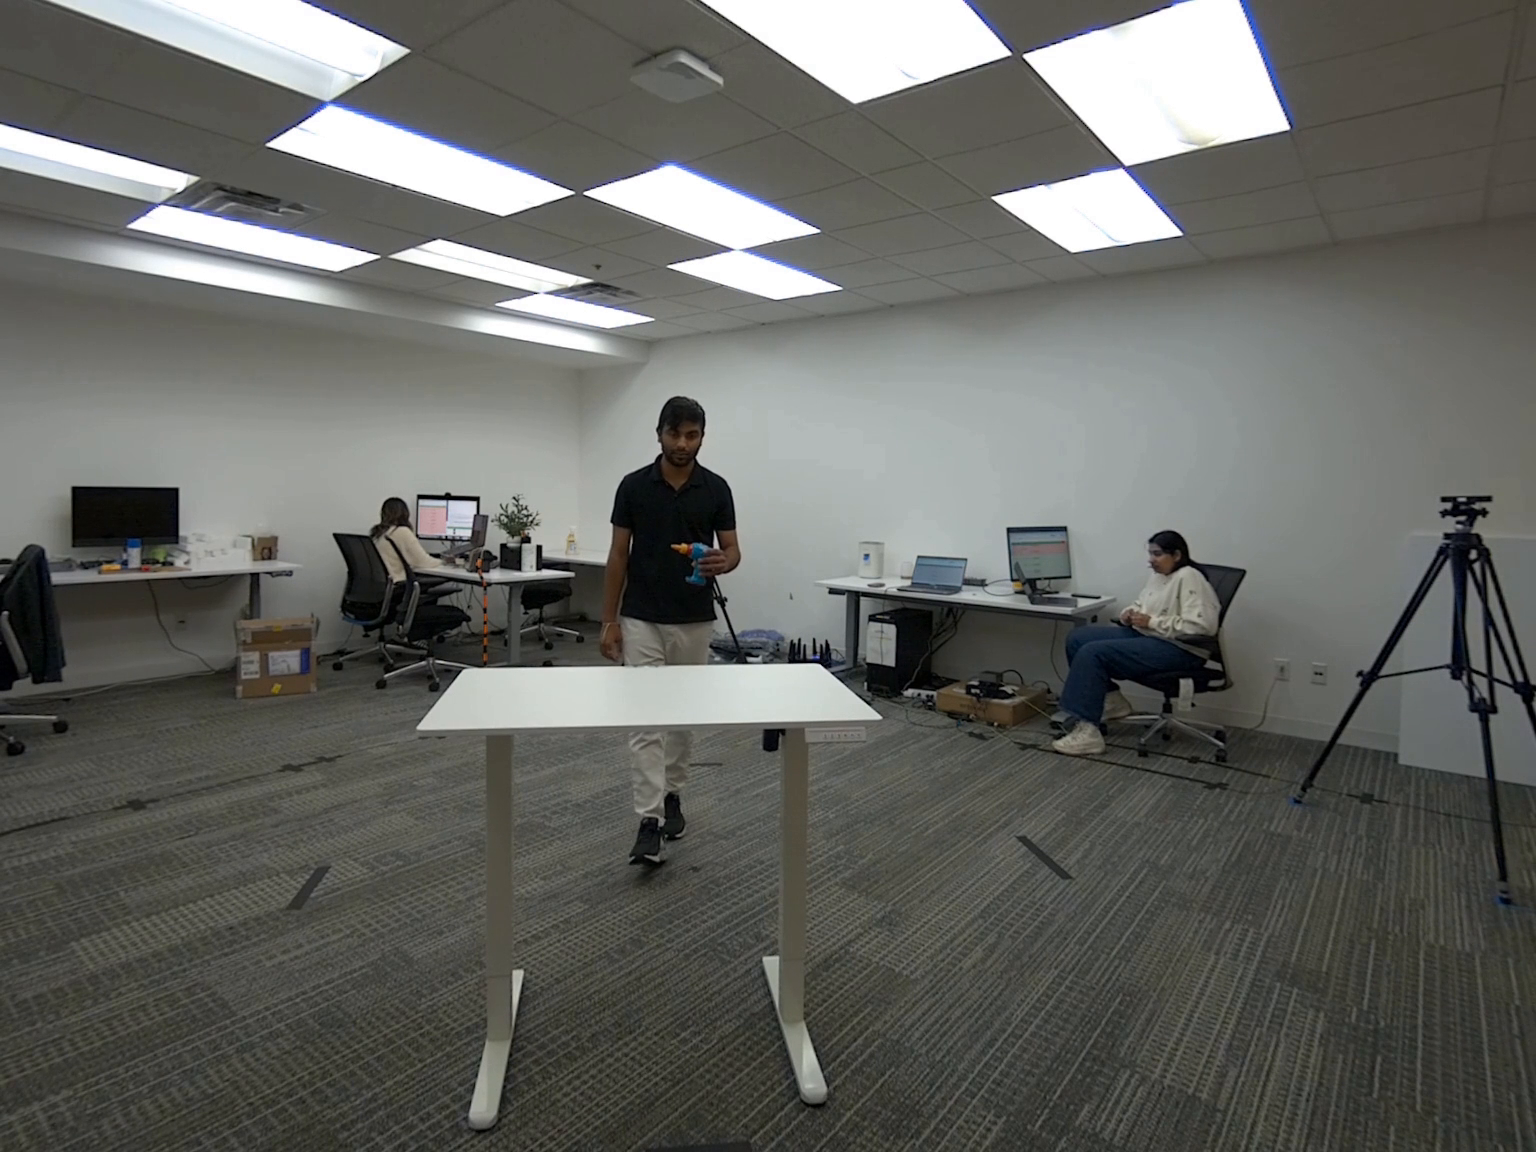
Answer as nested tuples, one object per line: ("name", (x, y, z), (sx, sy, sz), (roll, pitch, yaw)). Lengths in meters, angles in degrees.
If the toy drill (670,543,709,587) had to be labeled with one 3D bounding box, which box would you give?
("toy drill", (-0.285, -0.059, 3.048), (0.165, 0.145, 0.063), (12, 8, -25))
